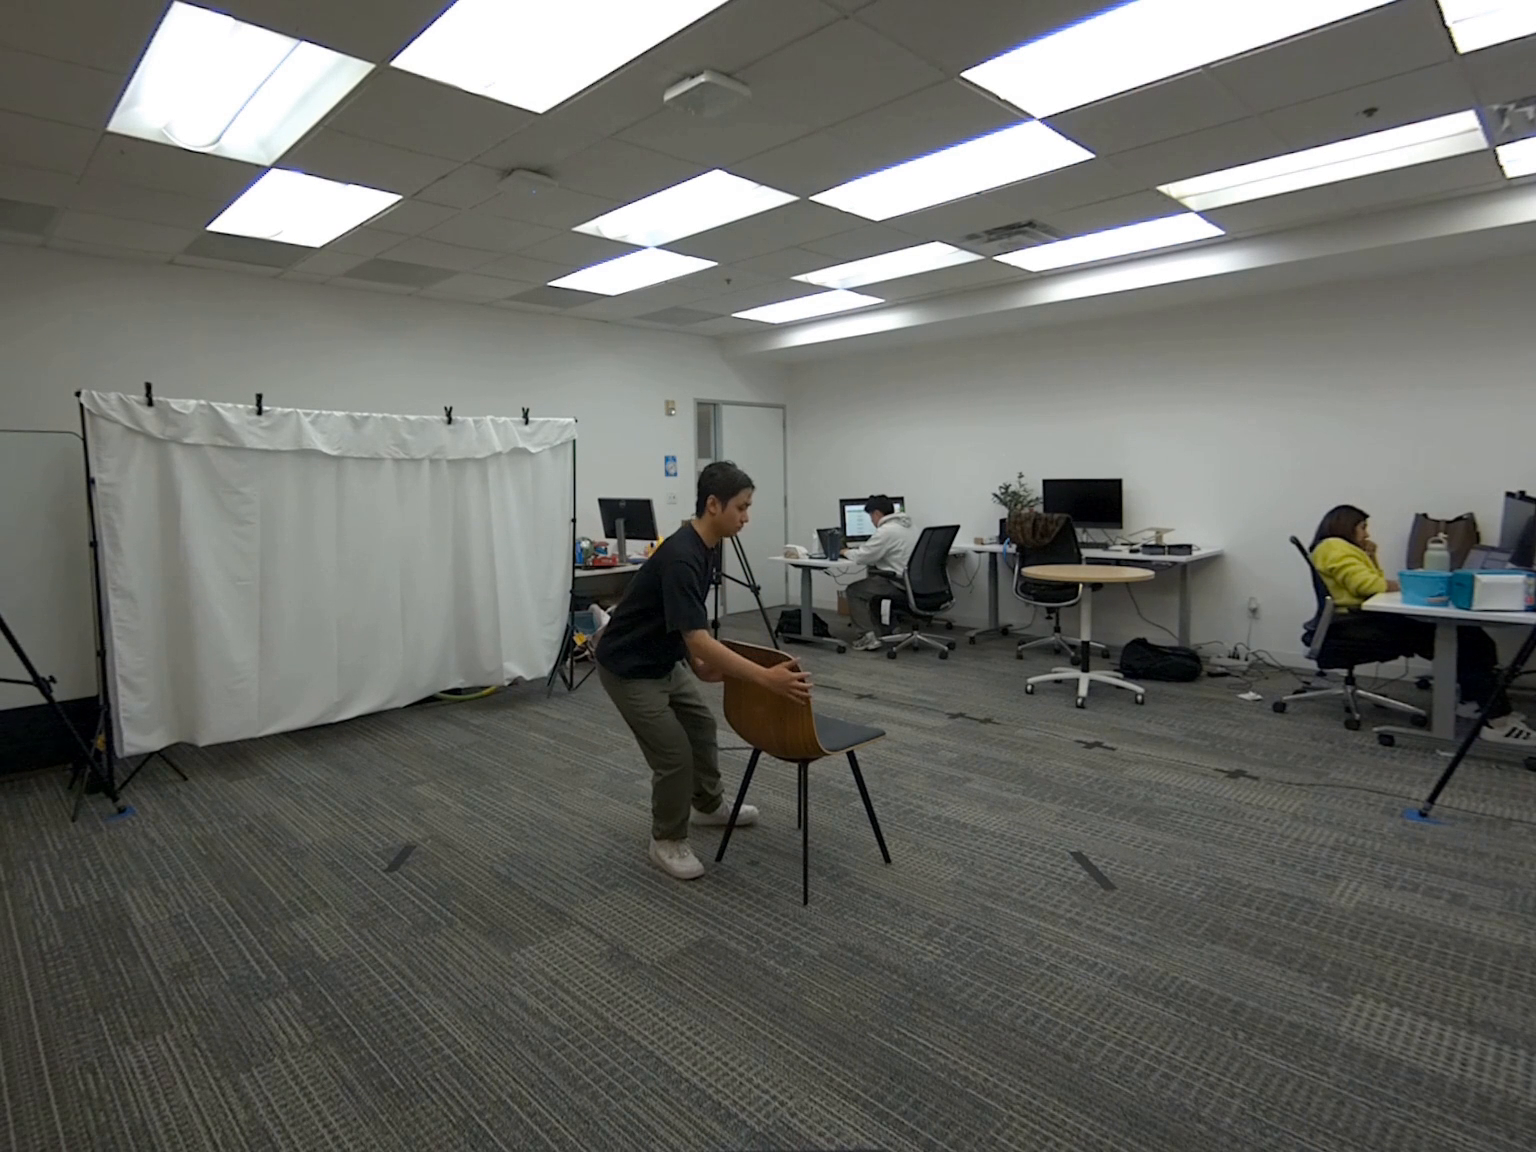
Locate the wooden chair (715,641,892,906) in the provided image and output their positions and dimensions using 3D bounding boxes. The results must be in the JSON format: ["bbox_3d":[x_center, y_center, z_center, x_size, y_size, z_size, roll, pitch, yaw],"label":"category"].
[{"bbox_3d":[0.128,0.612,3.069,0.511,0.871,0.493,-11,10,-43],"label":"wooden chair"}]
